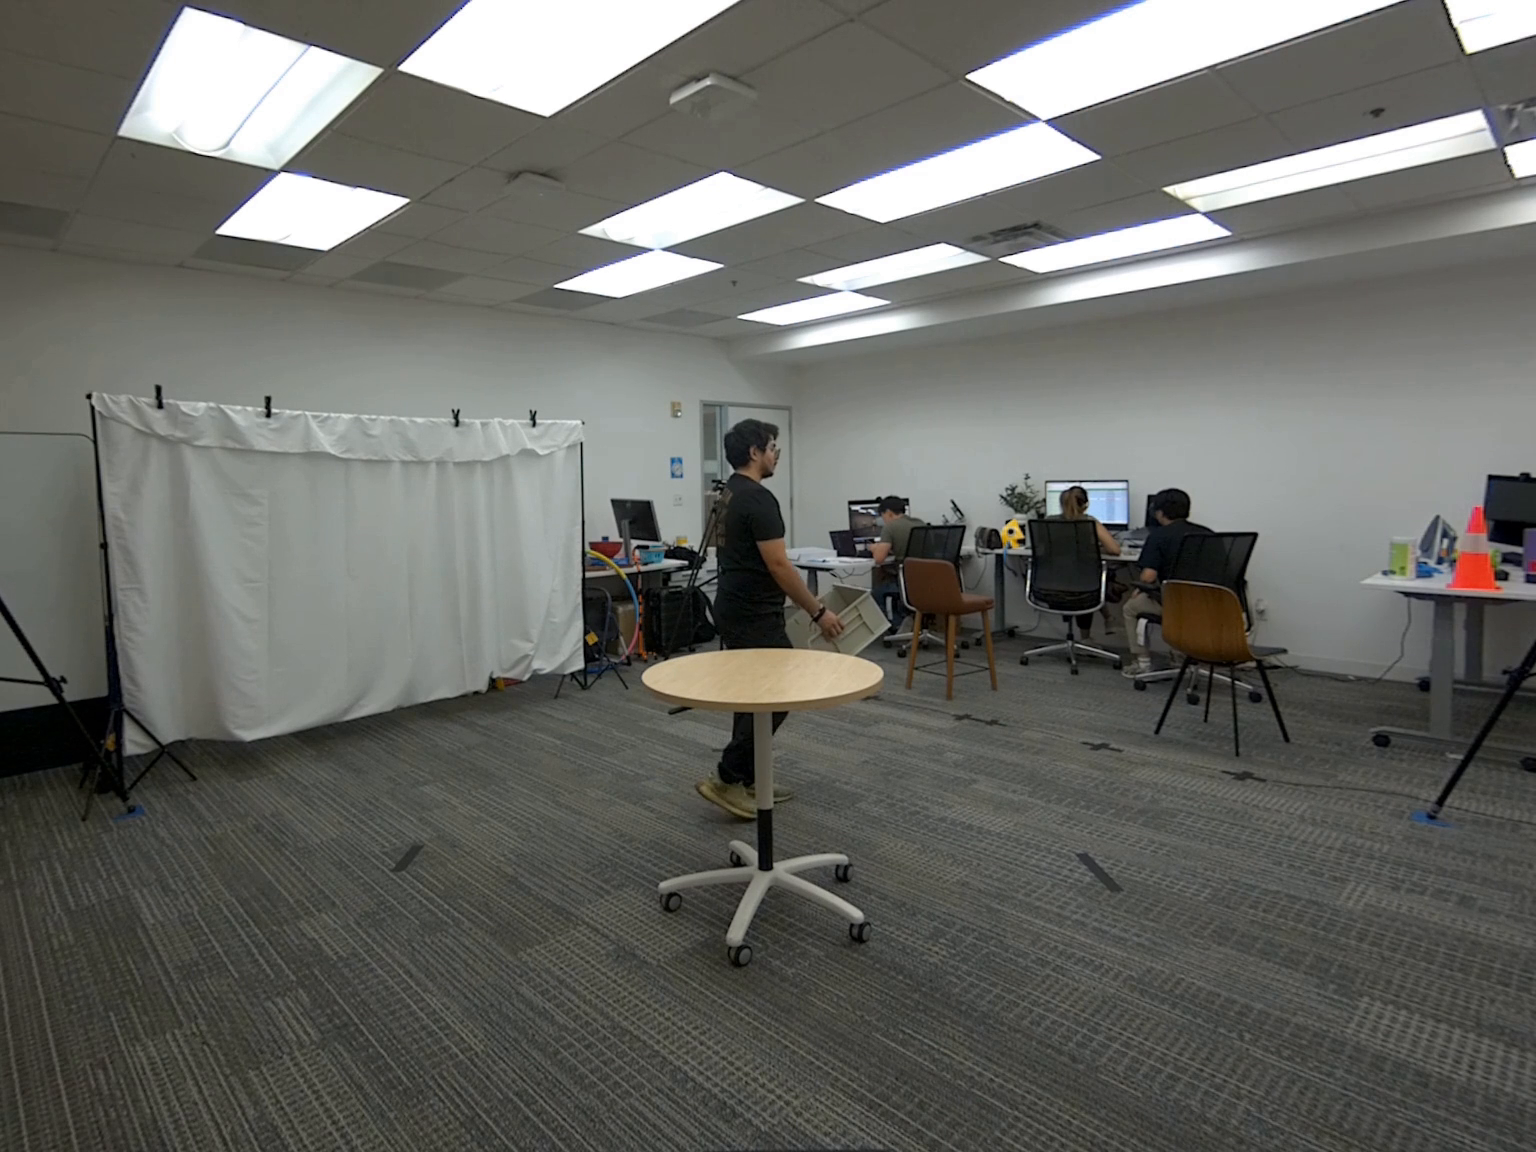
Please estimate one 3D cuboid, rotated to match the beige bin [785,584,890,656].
[{"bbox_3d":[0.264,0.232,3.700,0.376,0.187,0.429,-37,11,-12],"label":"beige bin"}]
